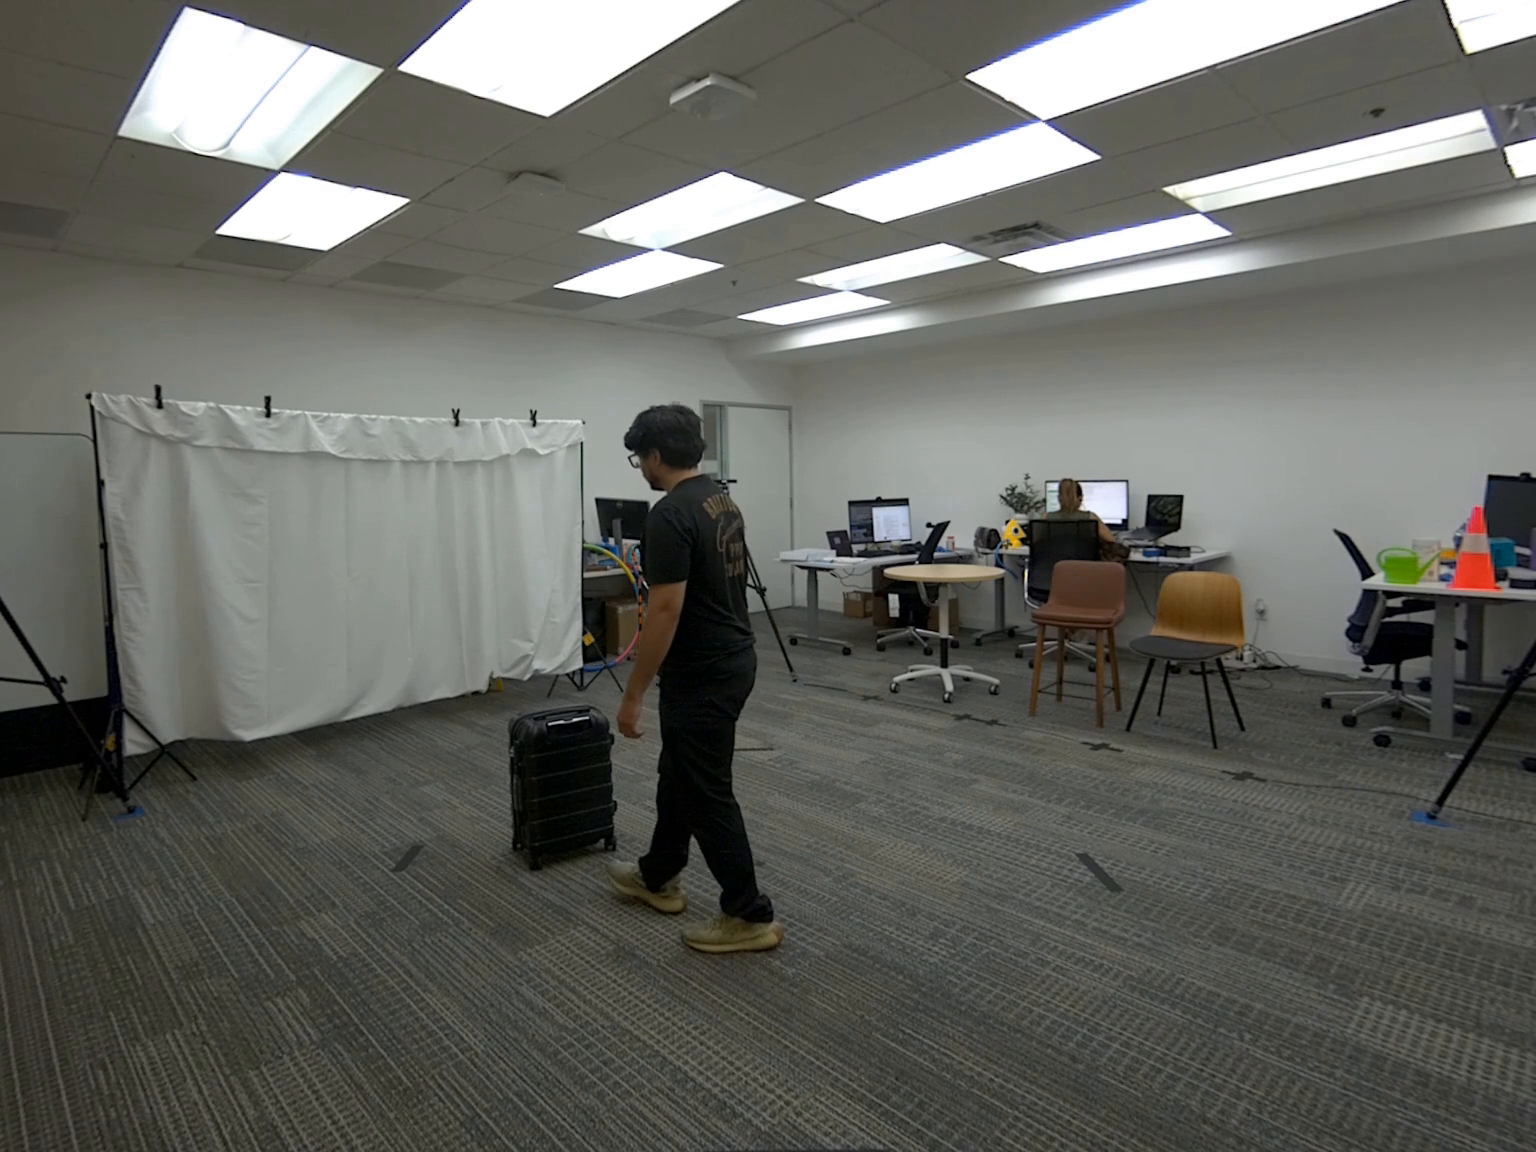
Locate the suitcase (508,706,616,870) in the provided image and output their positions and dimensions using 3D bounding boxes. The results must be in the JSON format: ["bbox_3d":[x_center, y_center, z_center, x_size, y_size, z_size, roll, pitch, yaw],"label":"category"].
[{"bbox_3d":[-0.786,0.770,3.233,0.366,0.547,0.255,-5,6,-31],"label":"suitcase"}]
